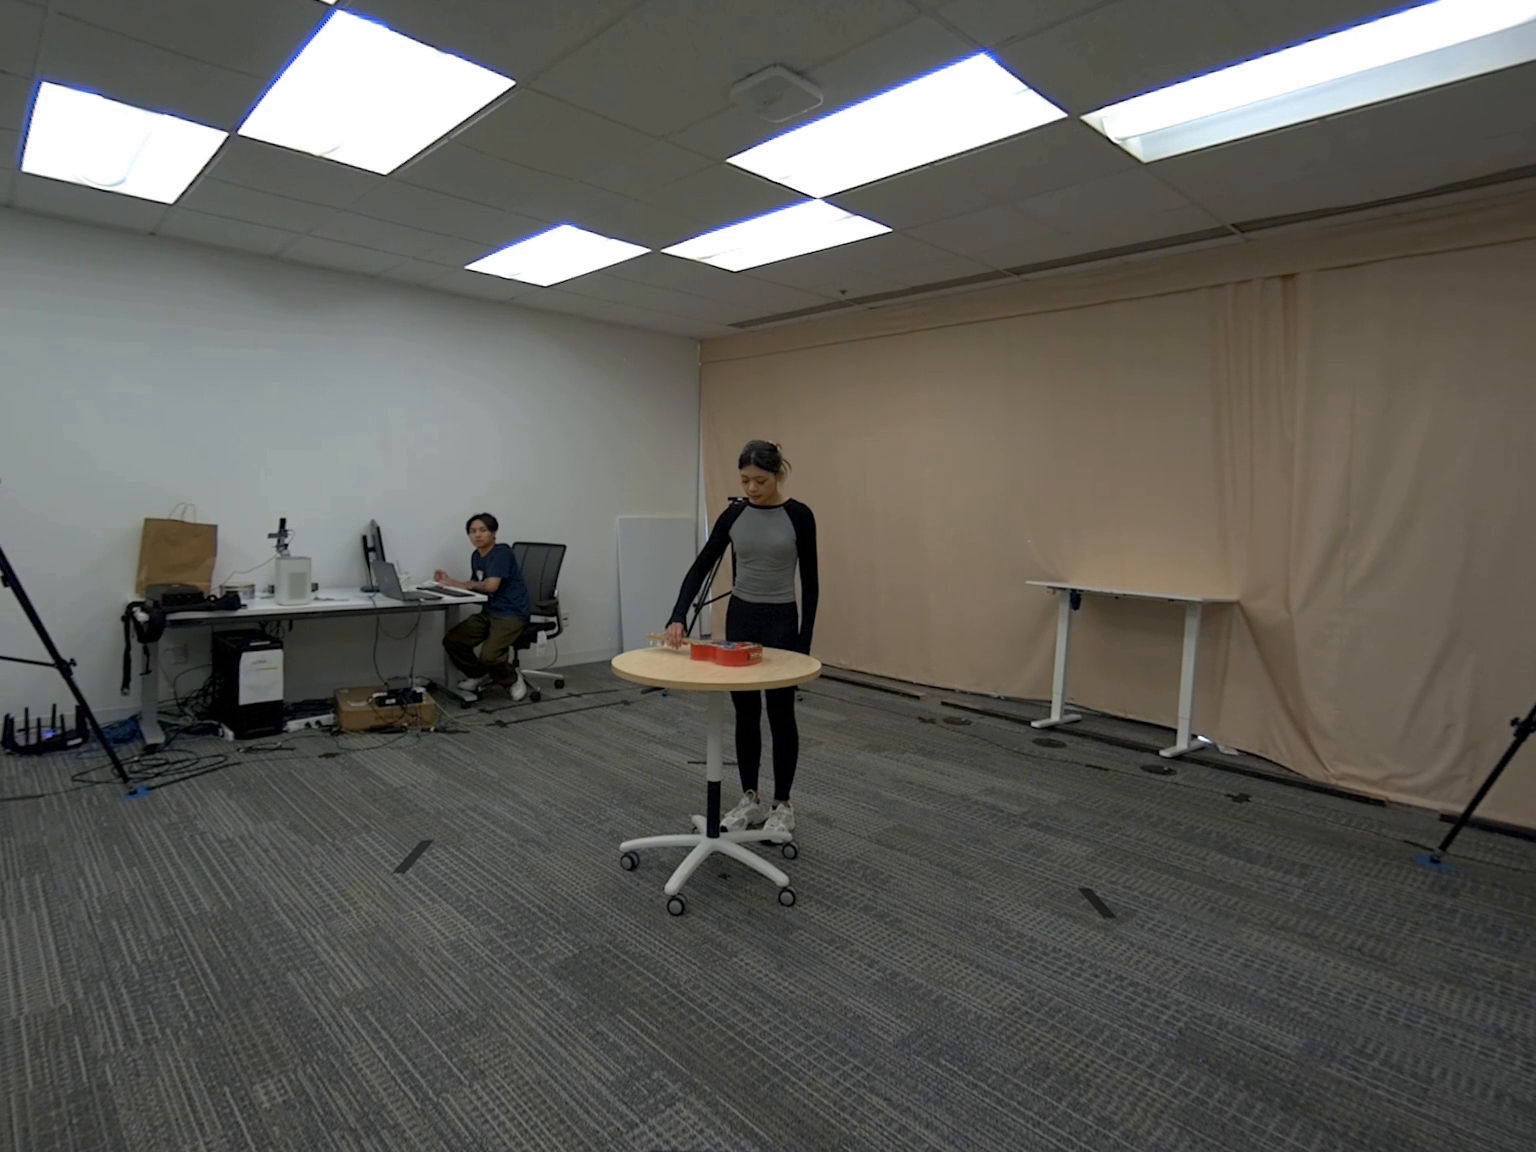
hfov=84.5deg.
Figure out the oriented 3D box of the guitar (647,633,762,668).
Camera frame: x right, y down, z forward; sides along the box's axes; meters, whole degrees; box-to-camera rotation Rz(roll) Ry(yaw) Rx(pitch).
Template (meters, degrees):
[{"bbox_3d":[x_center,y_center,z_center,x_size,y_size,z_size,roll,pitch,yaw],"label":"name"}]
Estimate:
[{"bbox_3d":[-0.246,0.274,3.201,0.510,0.070,0.188,5,5,40],"label":"guitar"}]
